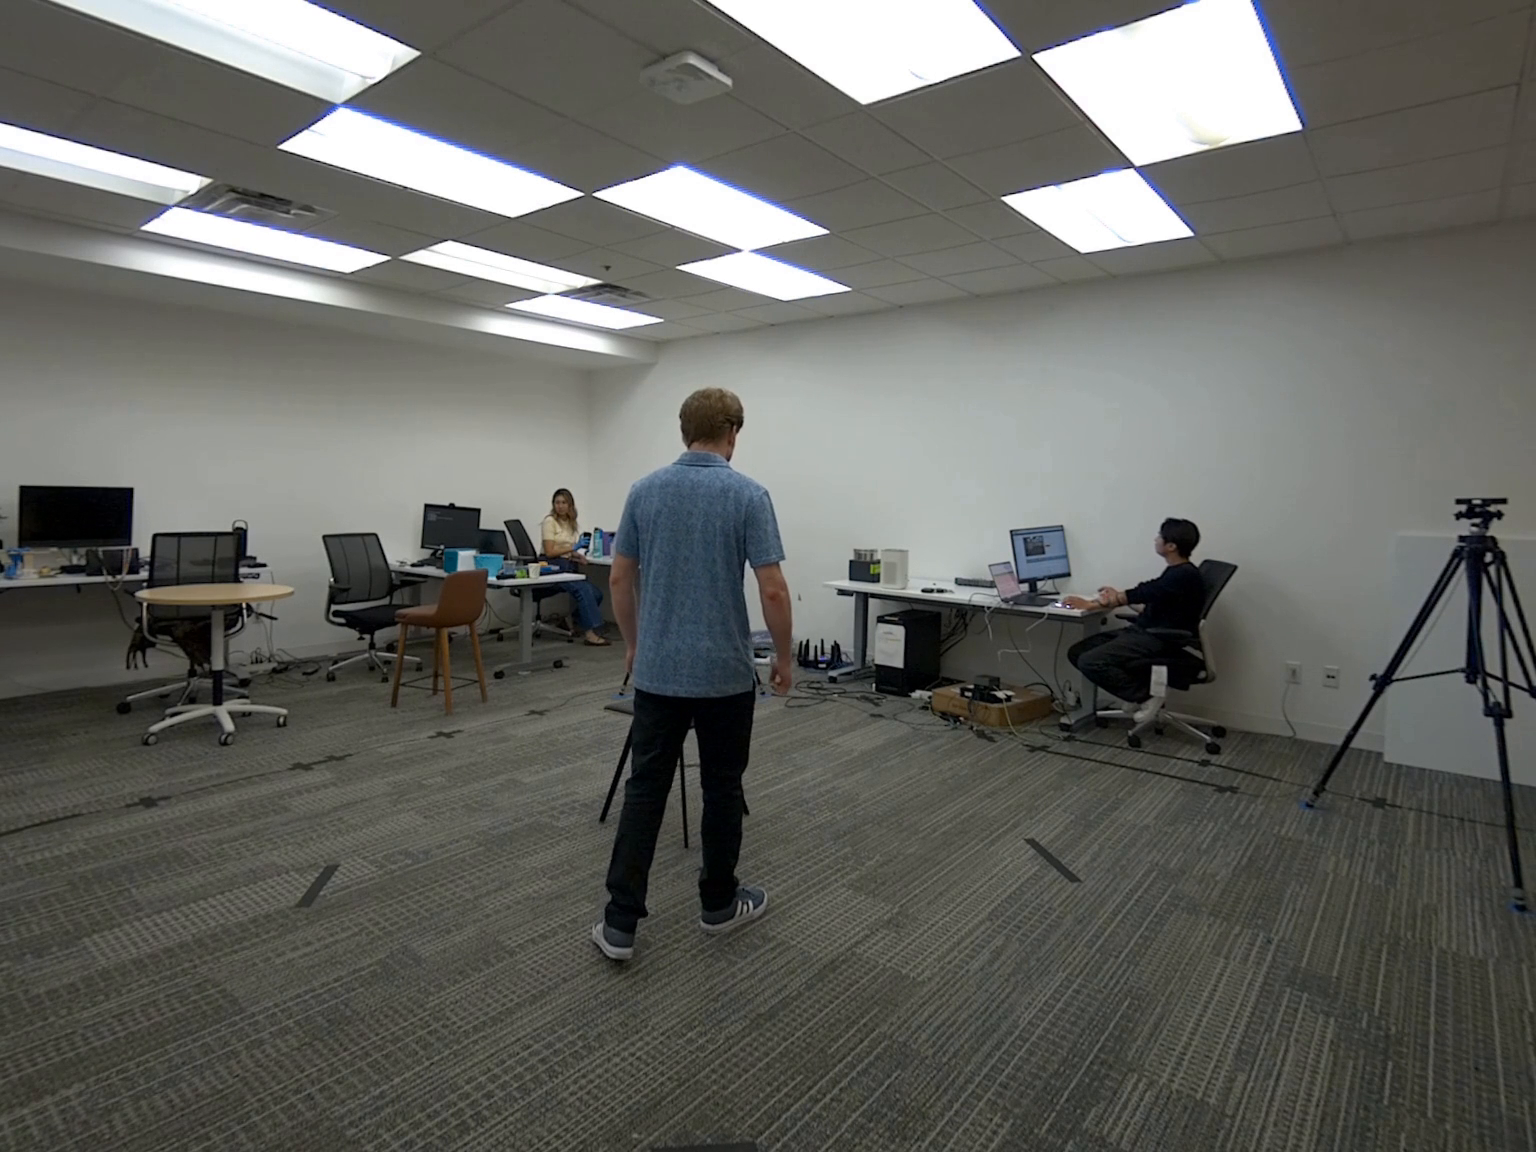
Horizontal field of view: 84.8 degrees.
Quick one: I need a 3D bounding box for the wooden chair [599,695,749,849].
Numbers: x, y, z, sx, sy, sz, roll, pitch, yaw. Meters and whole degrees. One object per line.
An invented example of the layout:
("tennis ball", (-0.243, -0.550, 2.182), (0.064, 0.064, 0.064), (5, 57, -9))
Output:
("wooden chair", (-0.398, 0.590, 3.568), (0.540, 0.873, 0.465), (9, 7, 32))
